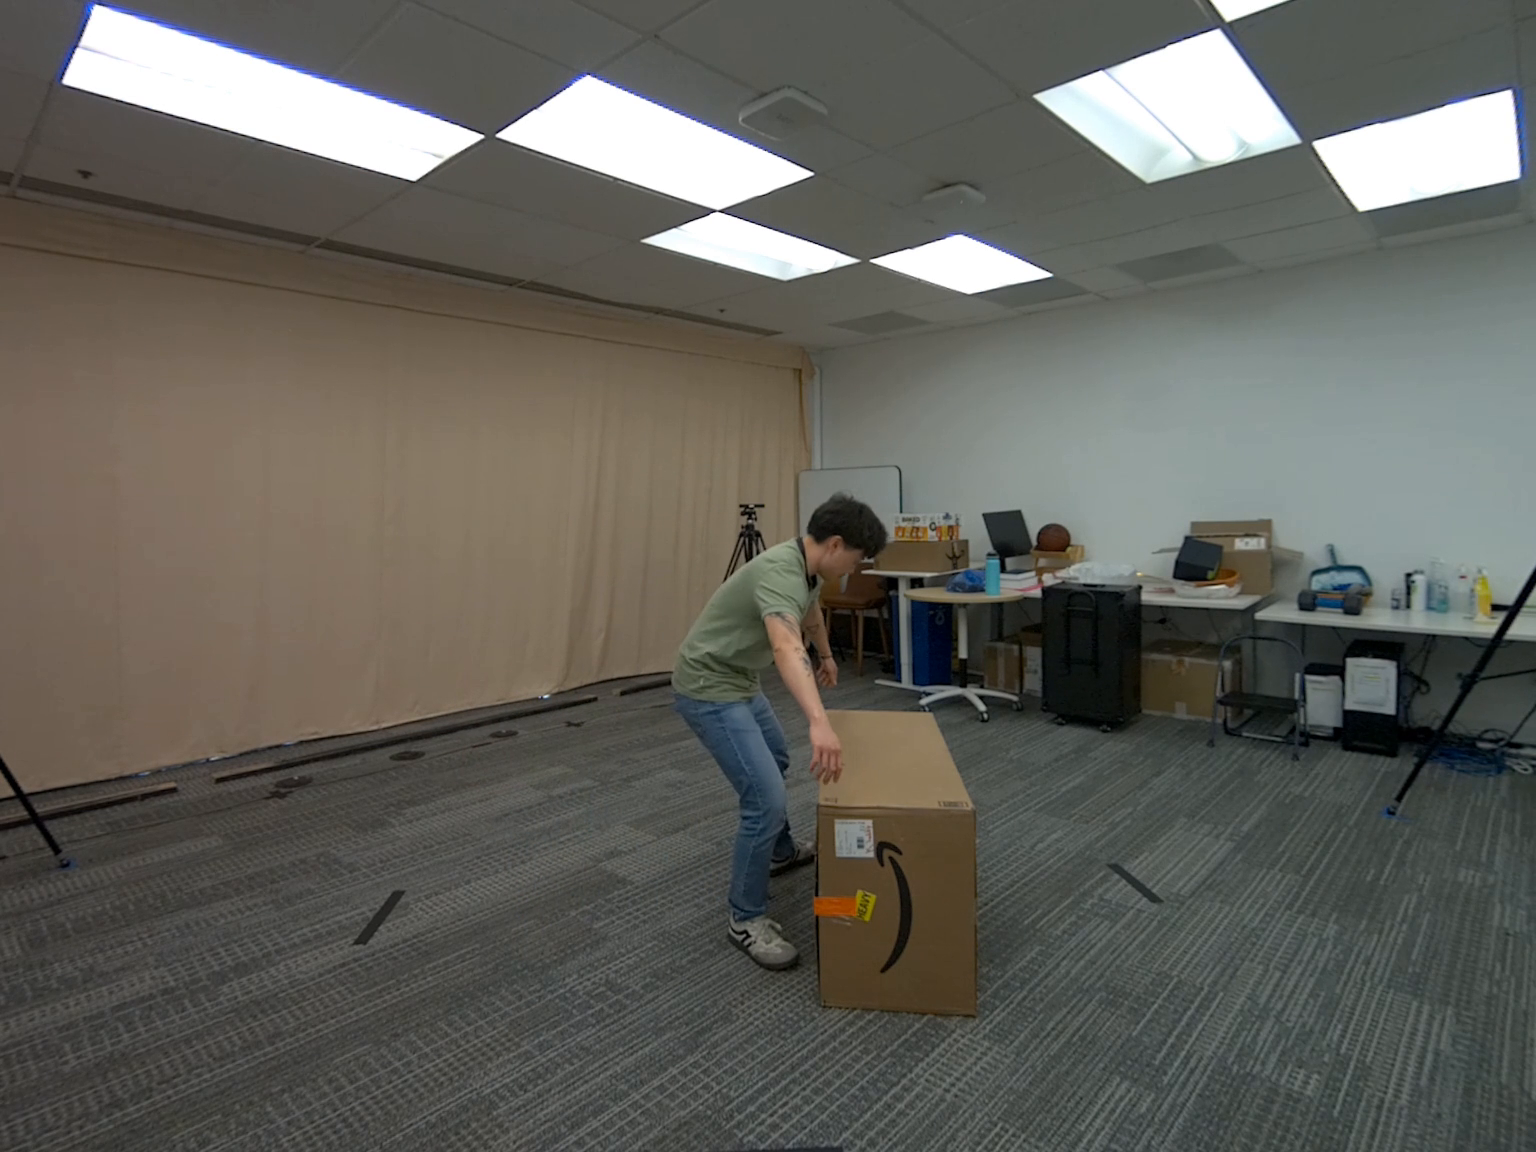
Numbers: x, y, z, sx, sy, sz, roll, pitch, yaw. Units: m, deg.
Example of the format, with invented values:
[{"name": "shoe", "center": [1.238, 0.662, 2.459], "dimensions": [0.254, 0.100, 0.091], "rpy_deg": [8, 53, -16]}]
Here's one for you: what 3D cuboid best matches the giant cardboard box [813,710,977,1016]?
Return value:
[{"name": "giant cardboard box", "center": [0.396, 0.859, 2.786], "dimensions": [0.429, 0.576, 1.021], "rpy_deg": [-1, 5, 5]}]
